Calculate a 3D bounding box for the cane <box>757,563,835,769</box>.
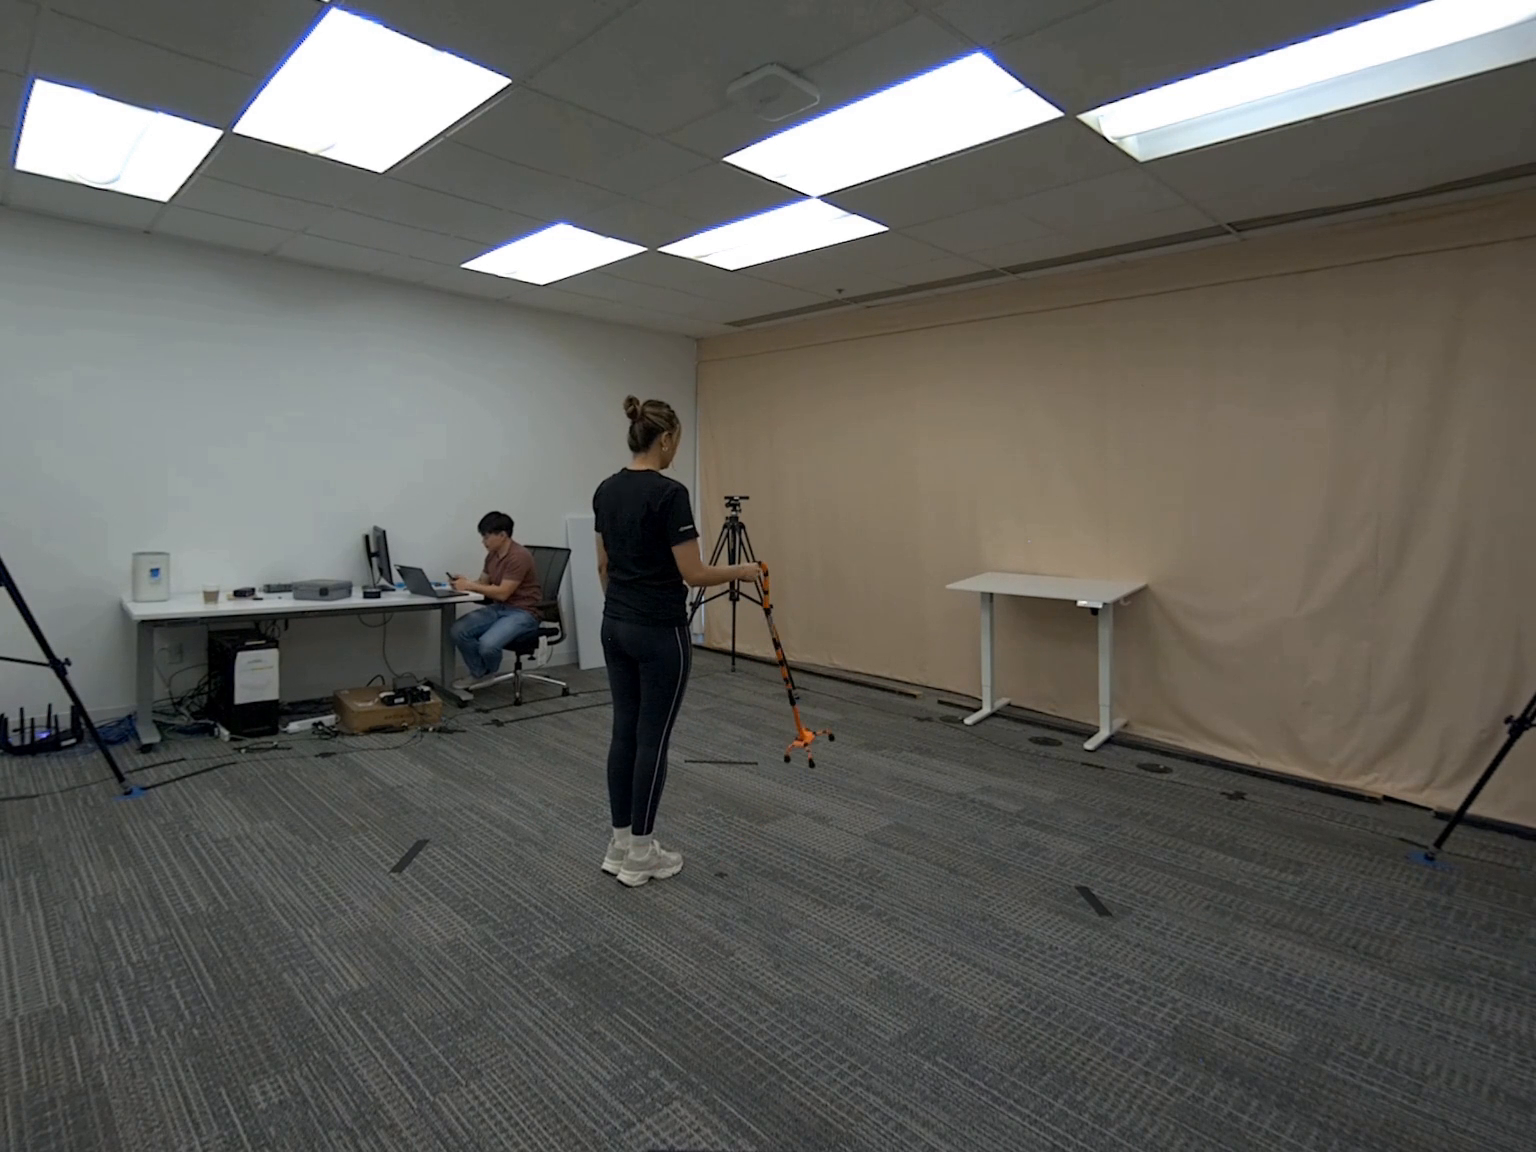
[{"bbox_3d":[0.060,0.355,3.402,0.155,0.891,0.205,2,27,34],"label":"cane"}]
